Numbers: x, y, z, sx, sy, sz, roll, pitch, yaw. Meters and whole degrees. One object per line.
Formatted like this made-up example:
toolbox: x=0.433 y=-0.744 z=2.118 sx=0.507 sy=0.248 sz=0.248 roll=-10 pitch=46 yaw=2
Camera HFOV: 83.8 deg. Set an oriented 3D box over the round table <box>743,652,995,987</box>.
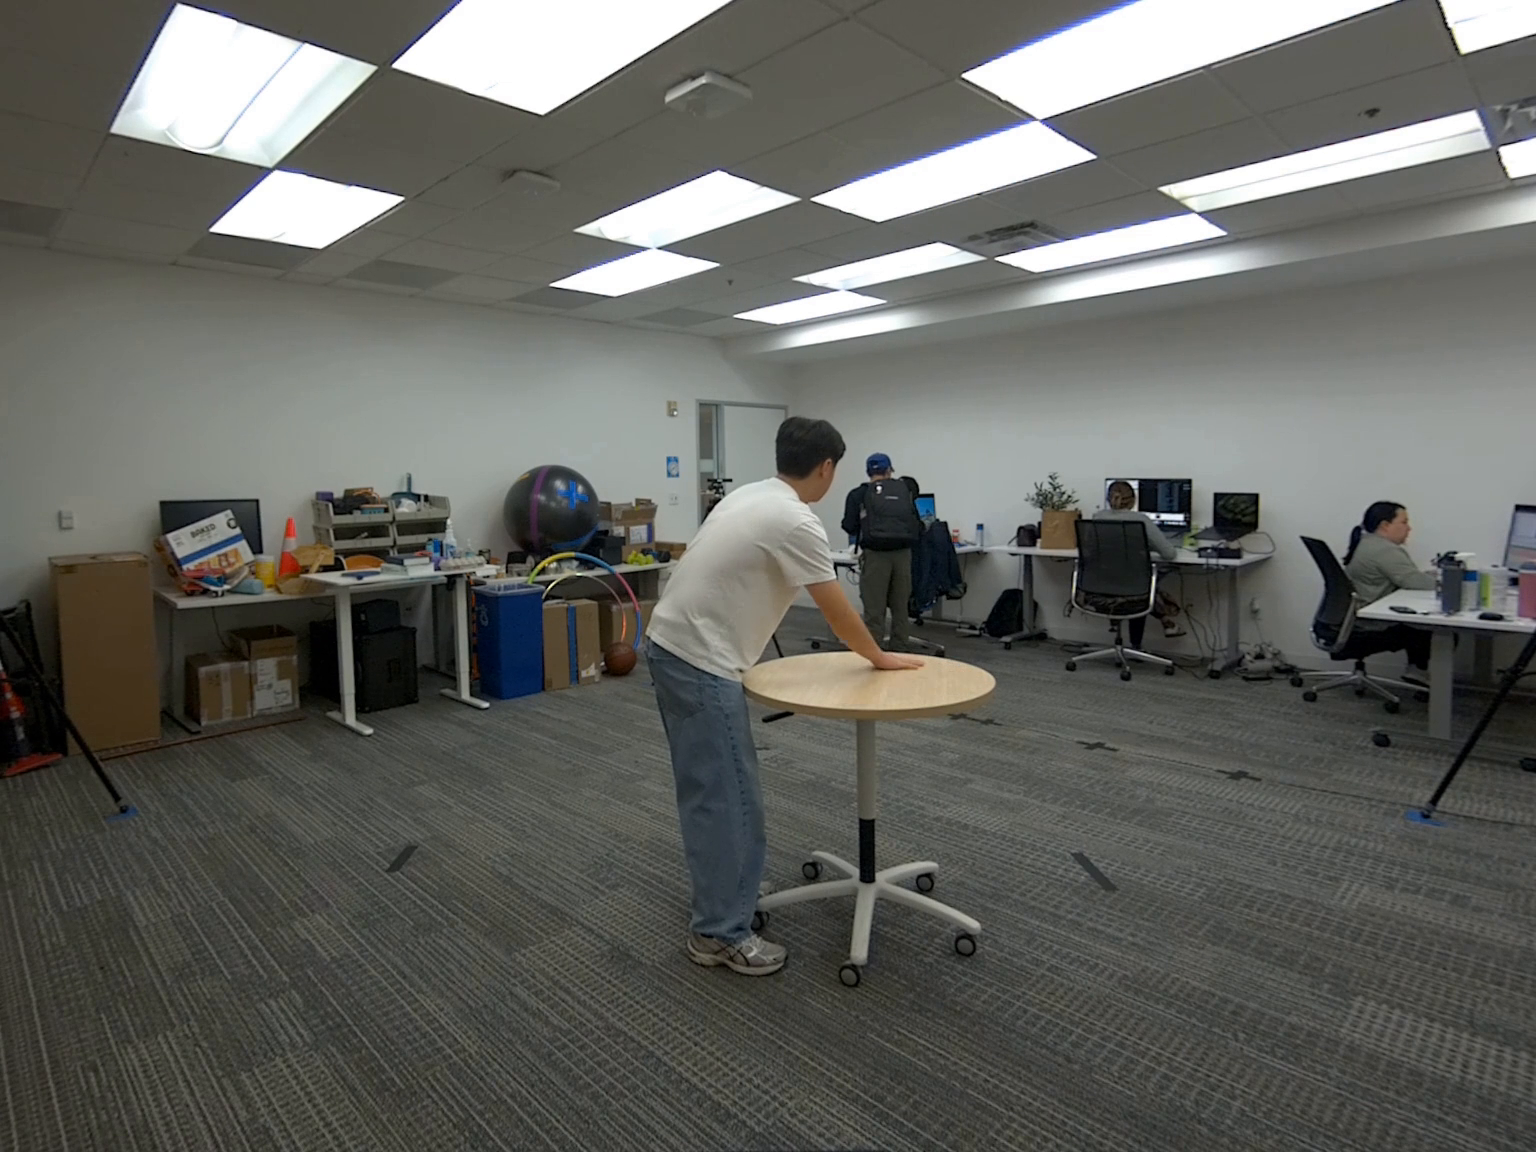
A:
round table: x=0.309 y=0.698 z=2.662 sx=0.763 sy=0.791 sz=0.768 roll=-1 pitch=5 yaw=-2
